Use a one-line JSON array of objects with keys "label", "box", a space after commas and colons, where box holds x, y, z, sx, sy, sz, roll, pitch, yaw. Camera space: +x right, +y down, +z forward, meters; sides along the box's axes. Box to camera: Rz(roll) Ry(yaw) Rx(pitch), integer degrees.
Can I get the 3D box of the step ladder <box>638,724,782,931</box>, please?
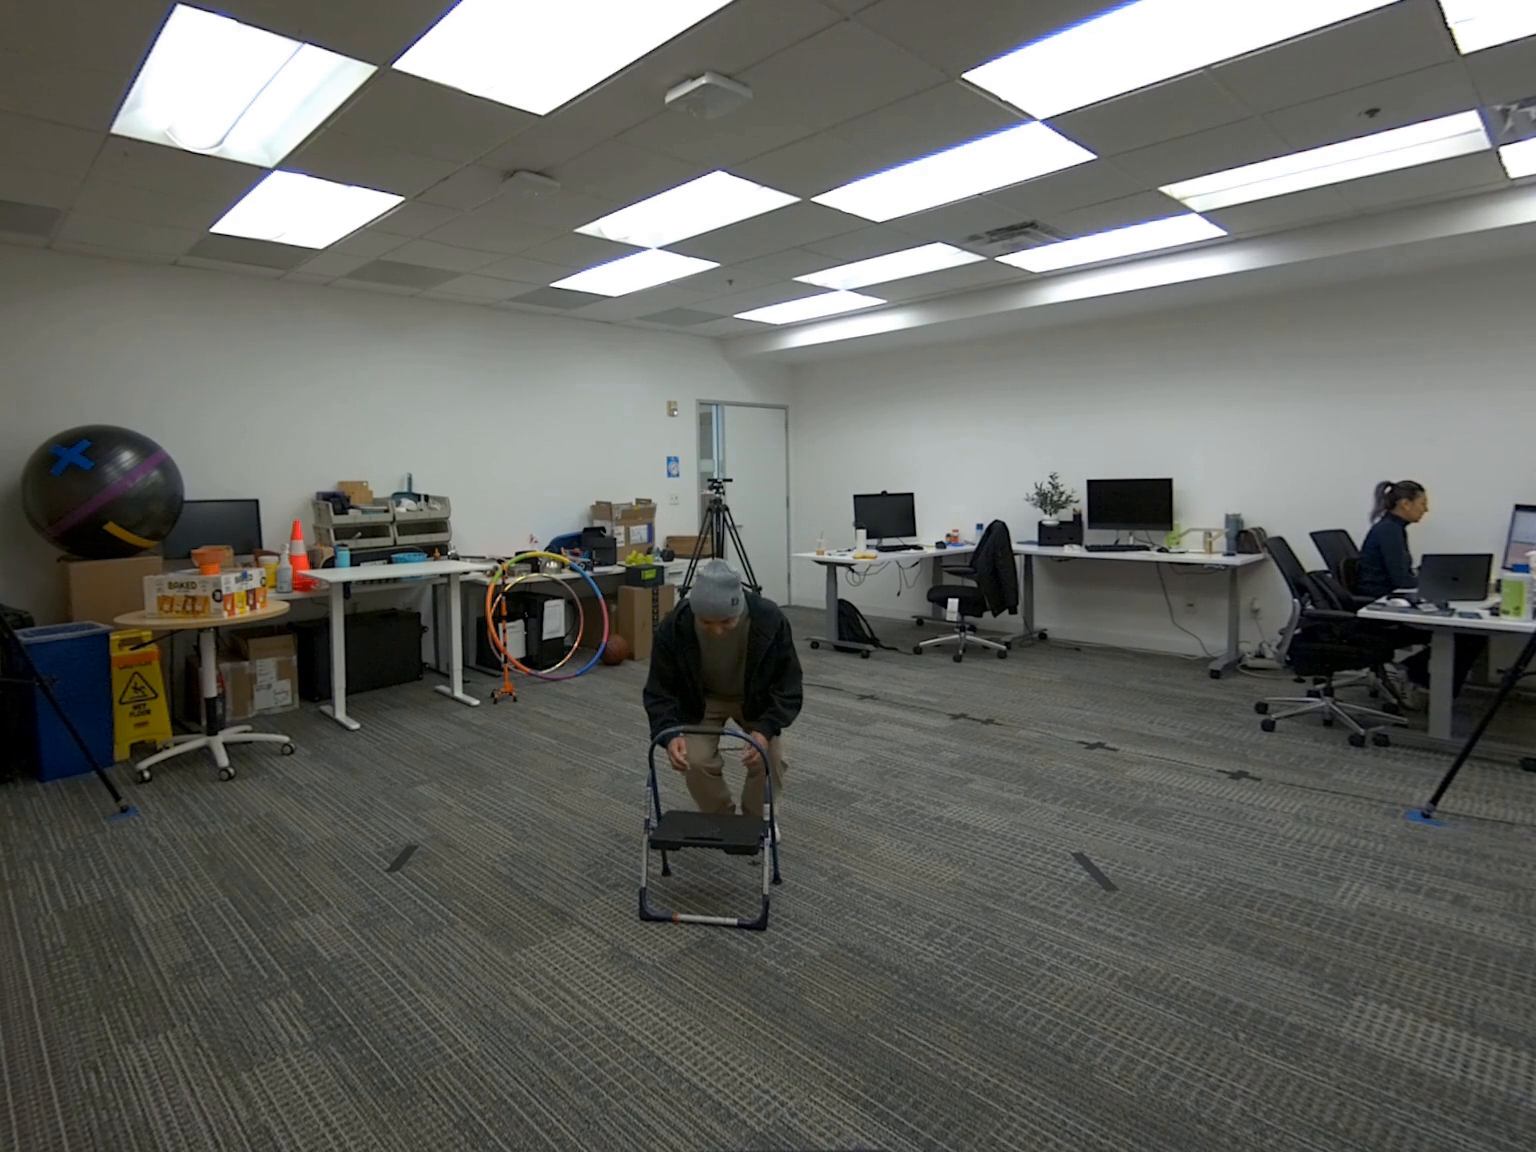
[{"label": "step ladder", "box": [-0.191, 0.782, 2.826, 0.435, 0.604, 0.347, 0, 4, 9]}]
